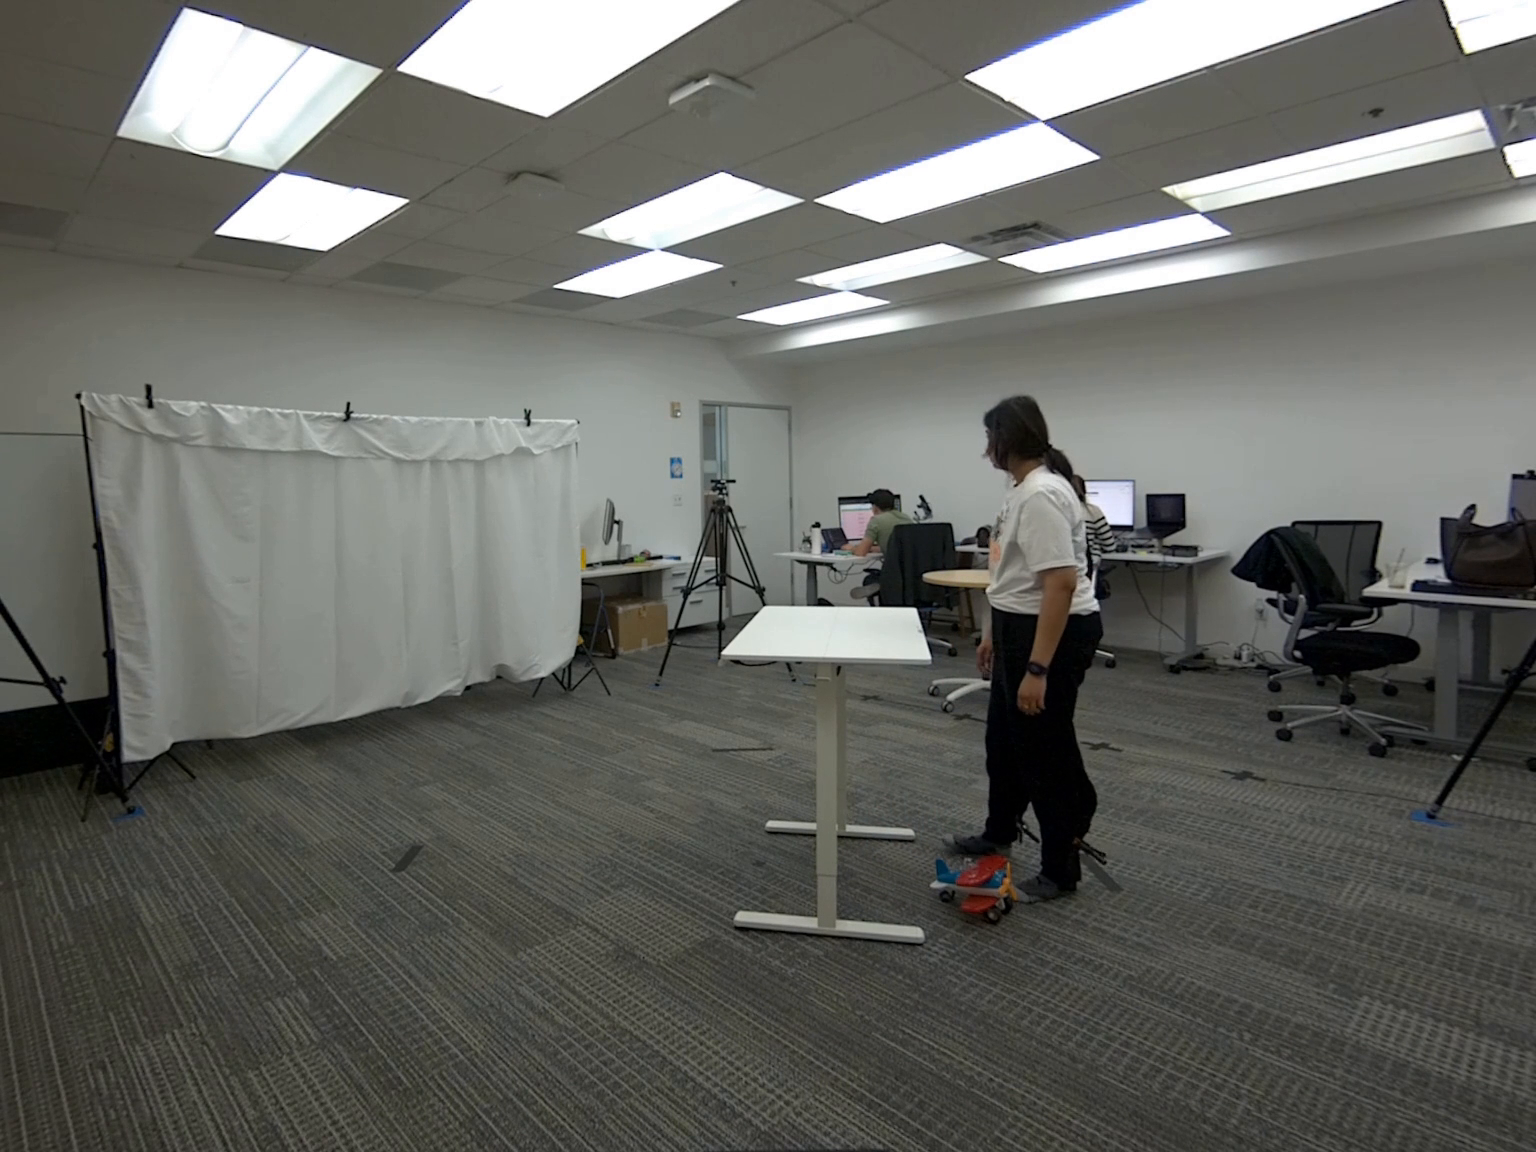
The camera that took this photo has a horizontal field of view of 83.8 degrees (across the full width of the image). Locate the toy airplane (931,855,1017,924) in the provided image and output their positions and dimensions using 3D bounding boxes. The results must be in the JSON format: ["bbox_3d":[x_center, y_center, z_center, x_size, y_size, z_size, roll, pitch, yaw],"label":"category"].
[{"bbox_3d":[0.663,1.004,2.734,0.263,0.155,0.249,2,7,14],"label":"toy airplane"}]
